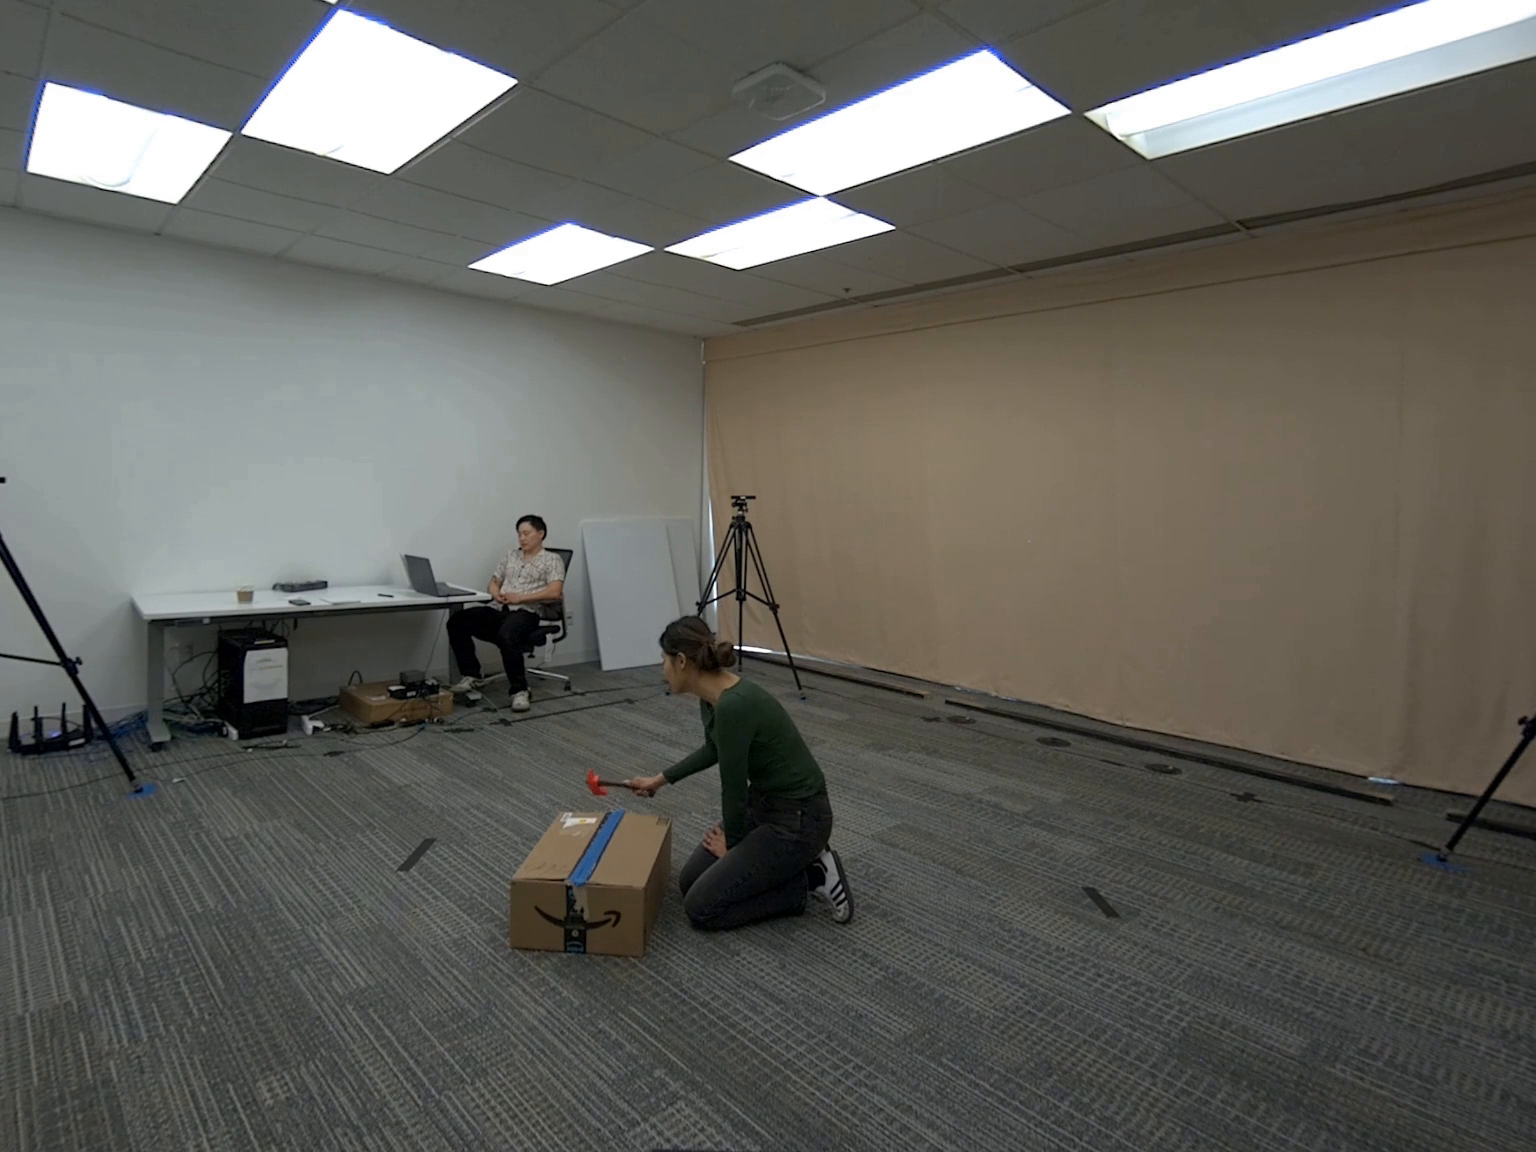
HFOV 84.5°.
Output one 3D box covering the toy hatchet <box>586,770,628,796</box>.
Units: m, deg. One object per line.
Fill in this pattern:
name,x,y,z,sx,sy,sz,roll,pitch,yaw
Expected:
toy hatchet,-0.552,0.832,3.170,0.274,0.129,0.029,21,27,15
